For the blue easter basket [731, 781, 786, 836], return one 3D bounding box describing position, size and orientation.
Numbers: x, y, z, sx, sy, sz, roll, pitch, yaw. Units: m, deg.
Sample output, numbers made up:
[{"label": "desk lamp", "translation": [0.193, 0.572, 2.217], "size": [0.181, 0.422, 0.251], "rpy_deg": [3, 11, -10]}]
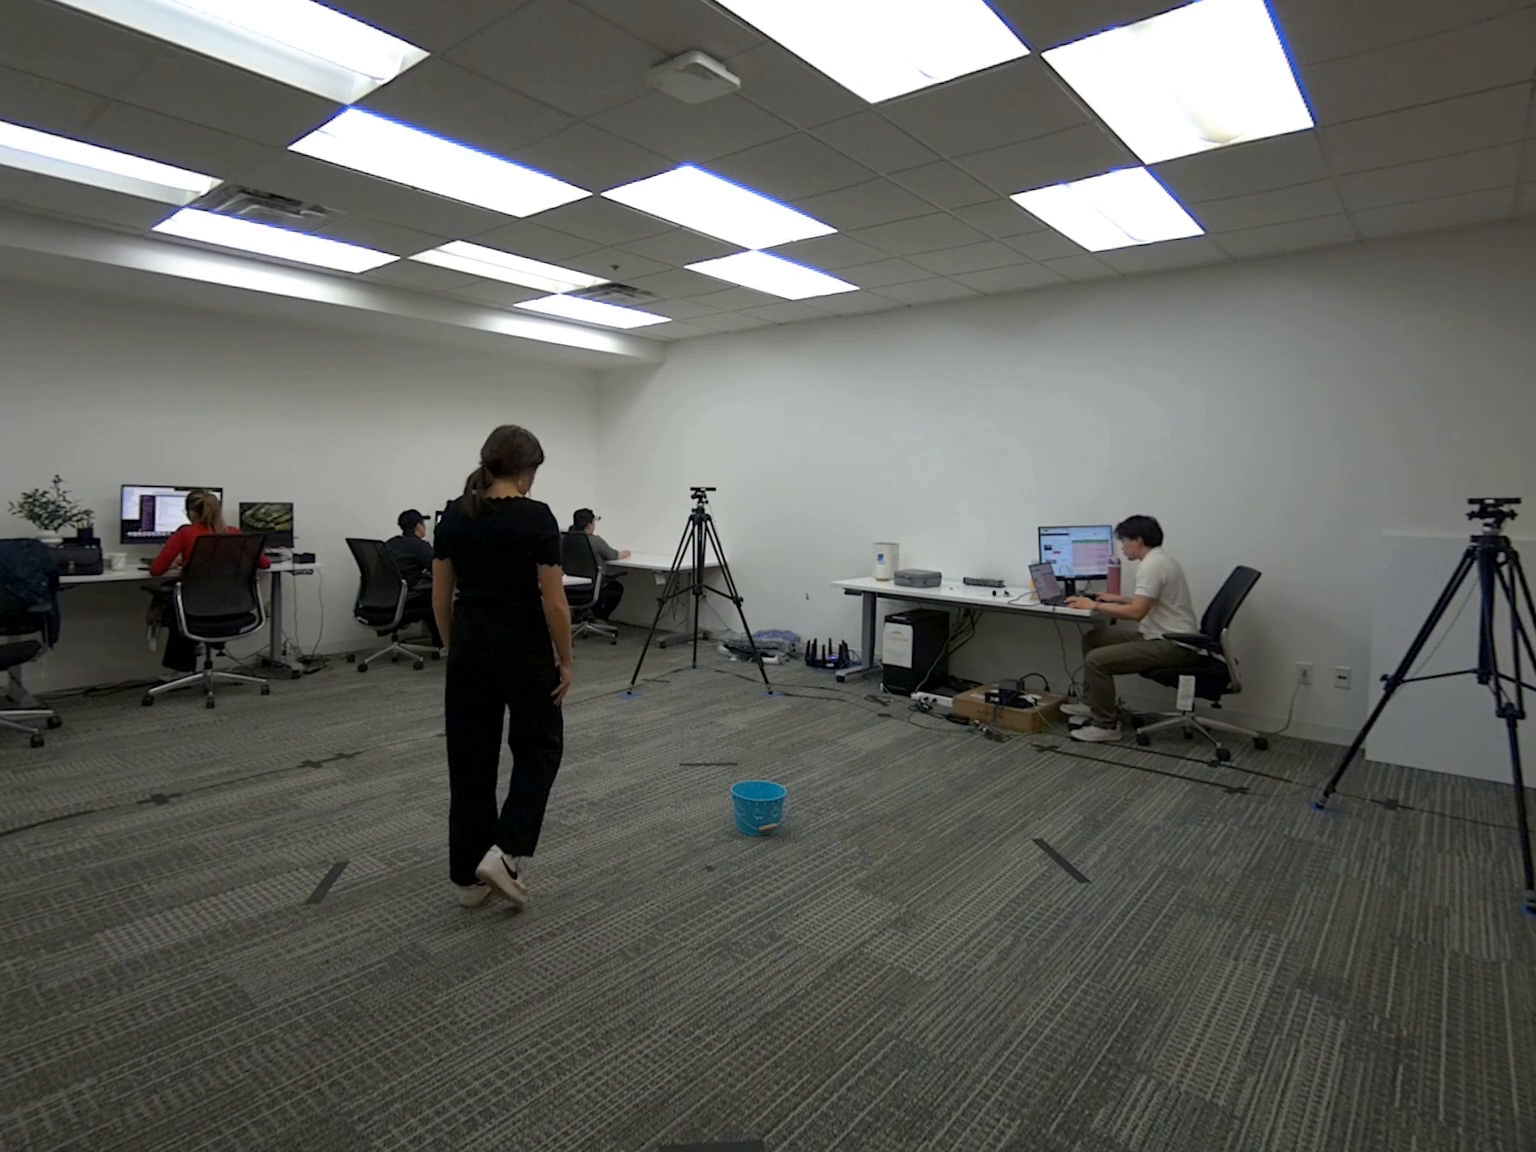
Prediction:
[{"label": "blue easter basket", "translation": [-0.045, 0.949, 3.500], "size": [0.243, 0.155, 0.245], "rpy_deg": [1, 4, -2]}]
